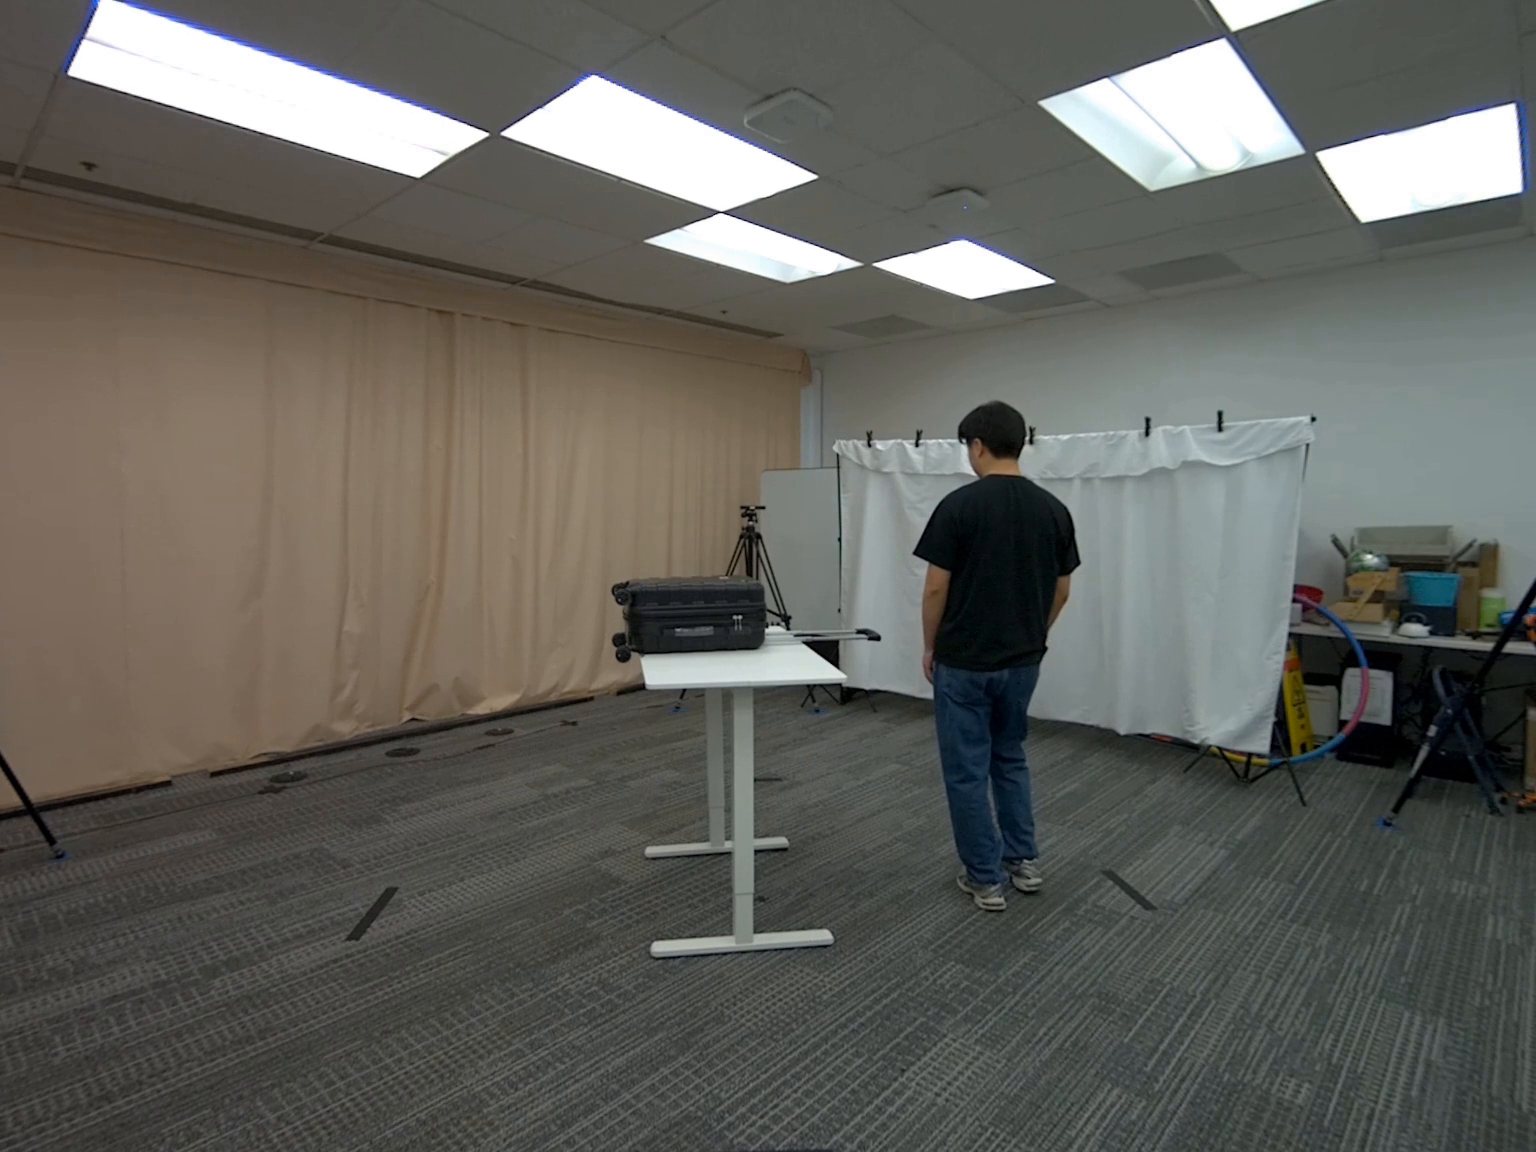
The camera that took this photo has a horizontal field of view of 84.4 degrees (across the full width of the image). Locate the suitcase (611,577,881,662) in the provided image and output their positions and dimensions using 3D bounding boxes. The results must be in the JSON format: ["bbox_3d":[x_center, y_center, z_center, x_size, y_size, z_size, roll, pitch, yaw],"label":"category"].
[{"bbox_3d":[-0.086,0.126,3.115,0.968,0.256,0.389,-4,4,-10],"label":"suitcase"}]
